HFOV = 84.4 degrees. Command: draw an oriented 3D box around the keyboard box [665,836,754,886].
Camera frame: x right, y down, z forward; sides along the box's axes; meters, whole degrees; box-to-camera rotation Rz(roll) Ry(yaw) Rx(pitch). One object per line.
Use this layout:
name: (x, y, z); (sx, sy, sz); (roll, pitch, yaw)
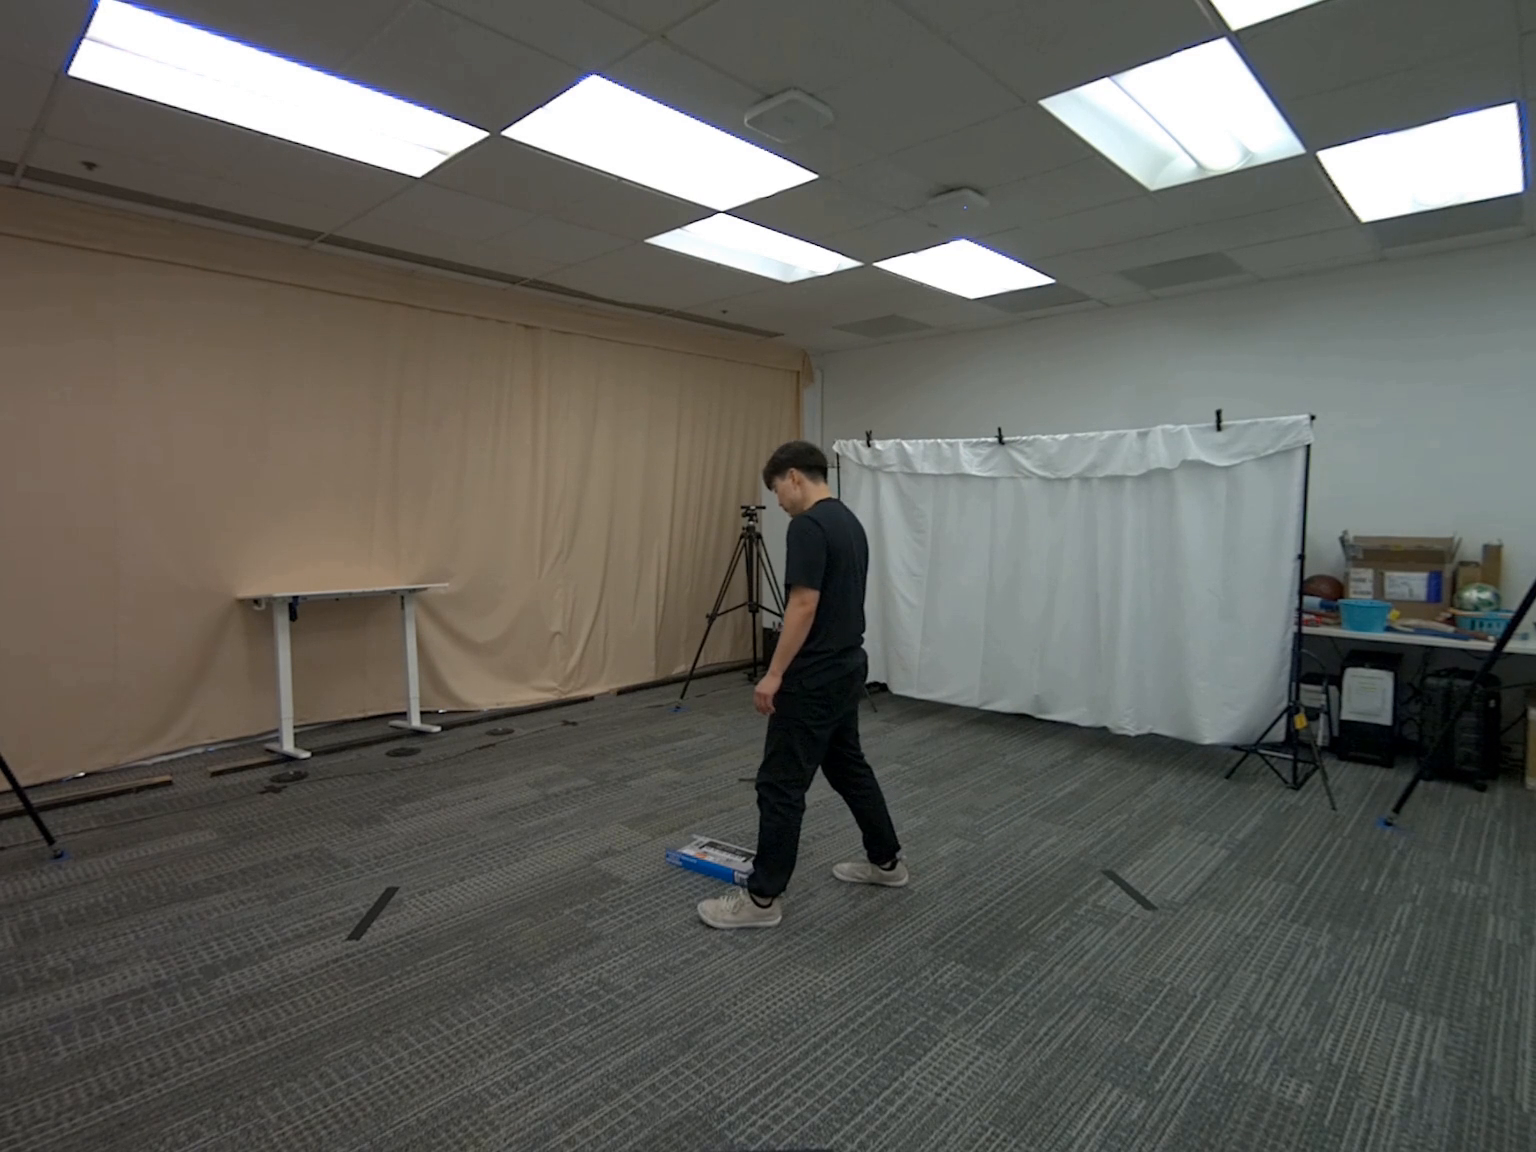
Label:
keyboard box: (-0.172, 1.095, 3.231); (0.451, 0.059, 0.171); (3, 6, 35)
